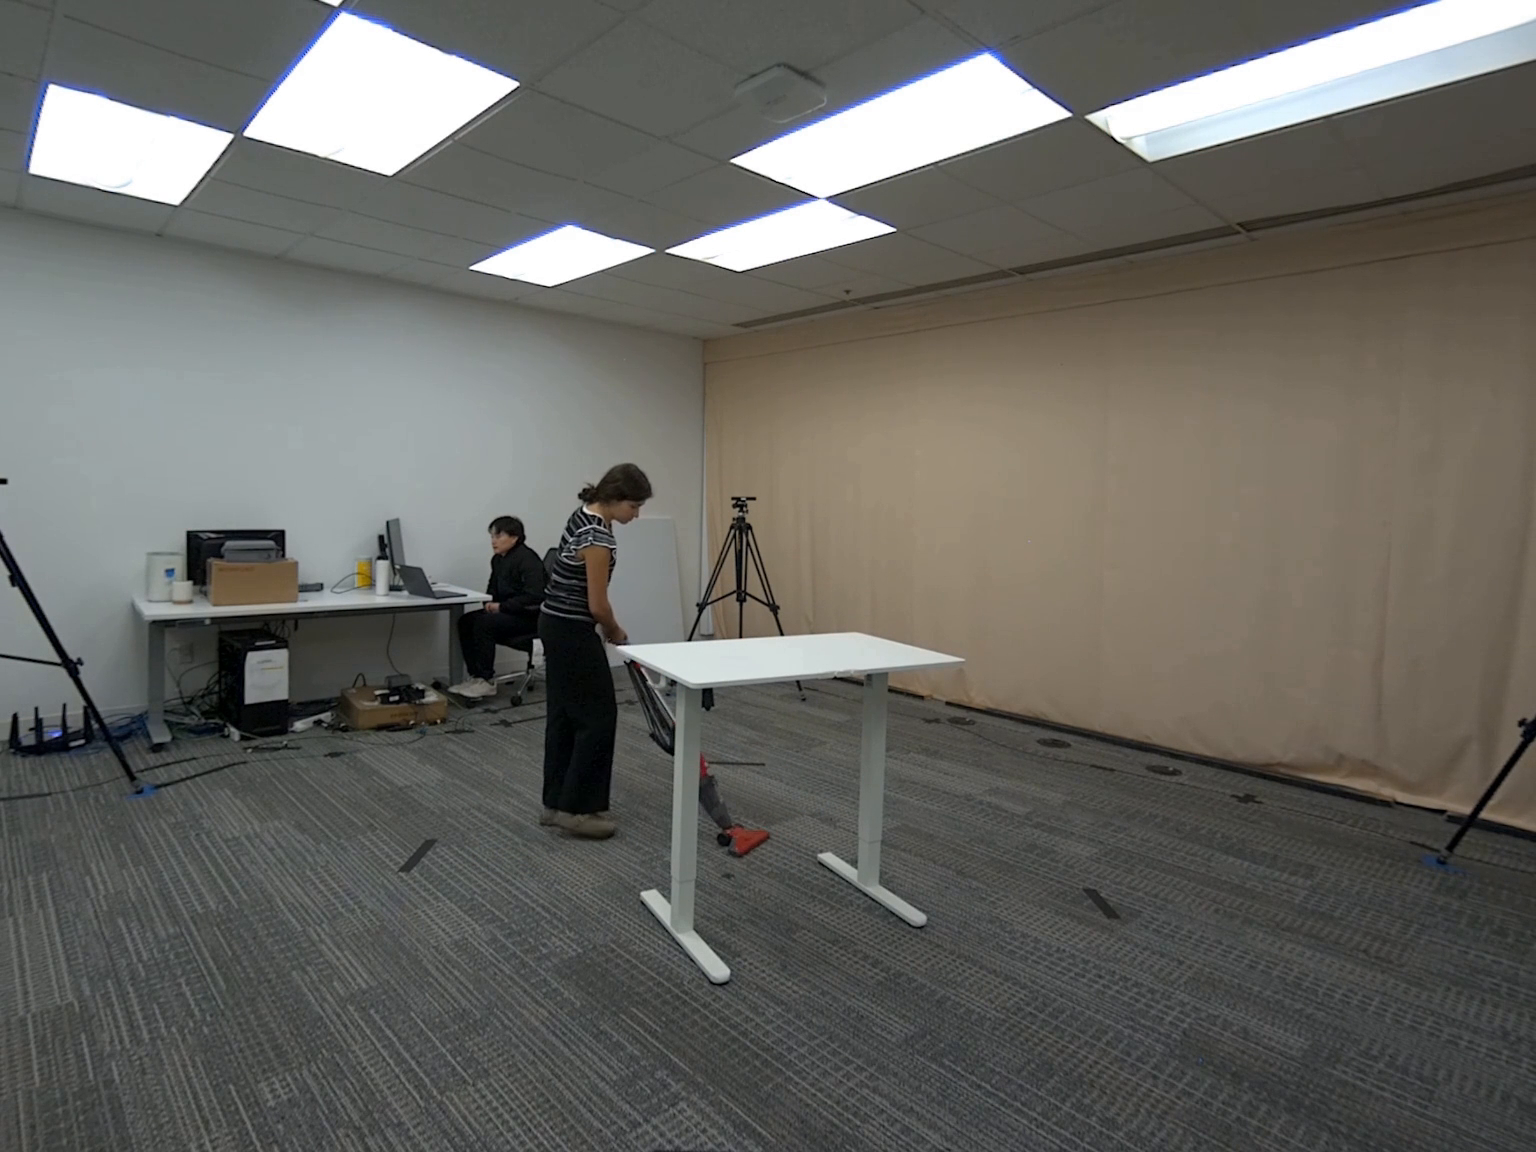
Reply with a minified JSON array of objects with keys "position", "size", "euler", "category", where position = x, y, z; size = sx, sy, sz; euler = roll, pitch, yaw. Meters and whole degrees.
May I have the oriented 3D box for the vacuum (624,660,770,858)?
[{"position":[-0.401,0.679,3.563],"size":[0.144,1.070,0.247],"euler":[-42,-19,17],"category":"vacuum"}]
